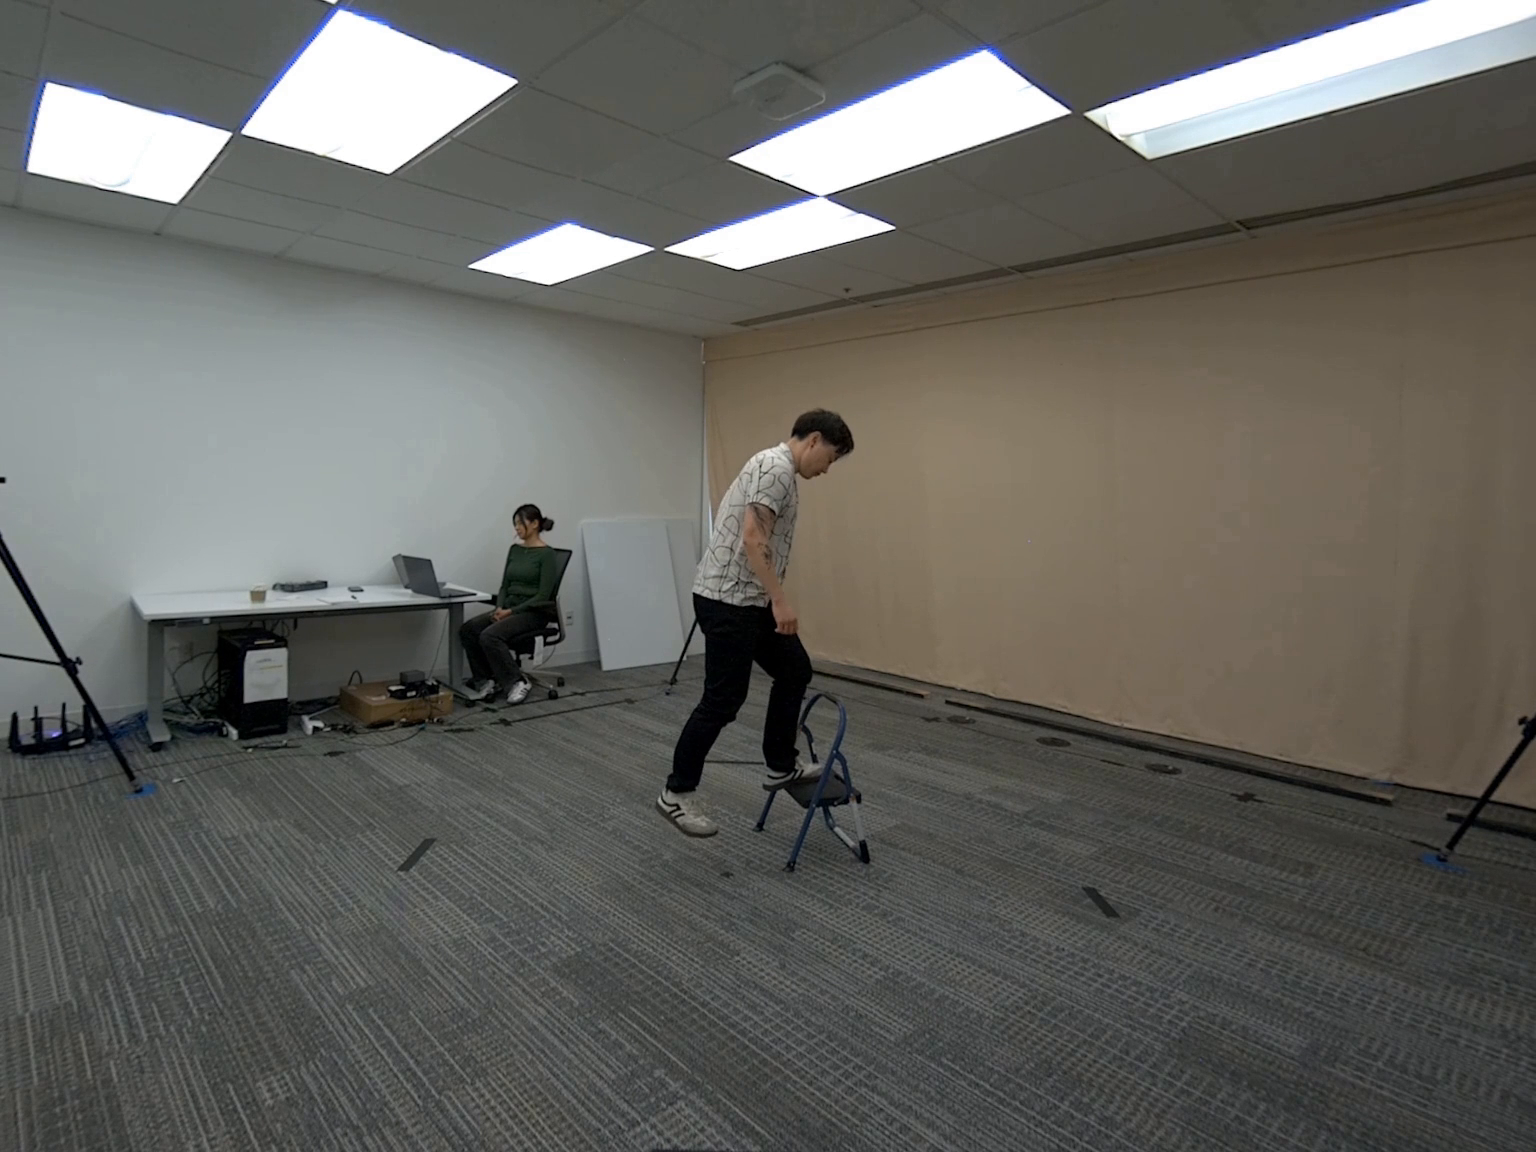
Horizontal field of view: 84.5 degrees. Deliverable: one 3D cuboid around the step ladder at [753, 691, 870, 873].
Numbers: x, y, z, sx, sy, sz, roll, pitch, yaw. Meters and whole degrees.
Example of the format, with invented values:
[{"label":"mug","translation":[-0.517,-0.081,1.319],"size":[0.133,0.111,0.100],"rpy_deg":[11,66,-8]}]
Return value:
[{"label":"step ladder","translation":[0.169,0.783,3.366],"size":[0.345,0.605,0.437],"rpy_deg":[1,4,-17]}]
